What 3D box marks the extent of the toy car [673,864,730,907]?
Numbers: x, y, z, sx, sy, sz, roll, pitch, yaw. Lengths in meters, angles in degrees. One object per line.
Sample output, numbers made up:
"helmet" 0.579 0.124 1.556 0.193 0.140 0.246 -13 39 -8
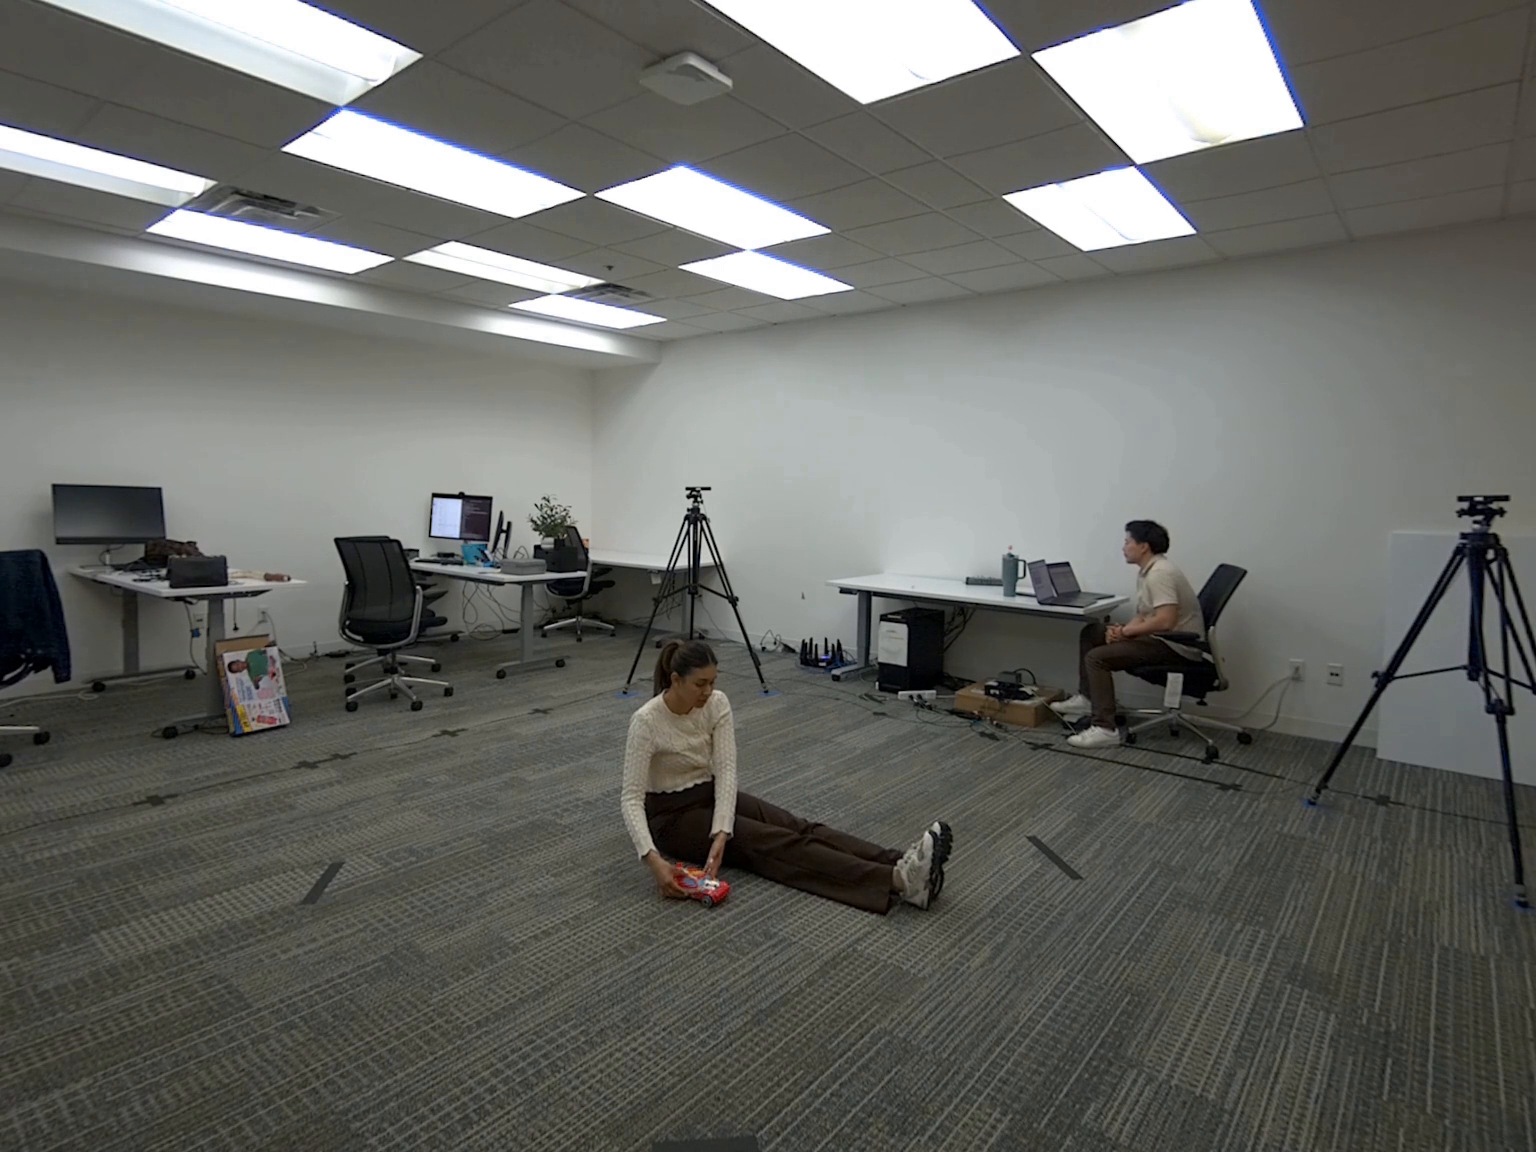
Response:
"toy car" -0.266 1.053 2.909 0.263 0.082 0.127 15 12 31
